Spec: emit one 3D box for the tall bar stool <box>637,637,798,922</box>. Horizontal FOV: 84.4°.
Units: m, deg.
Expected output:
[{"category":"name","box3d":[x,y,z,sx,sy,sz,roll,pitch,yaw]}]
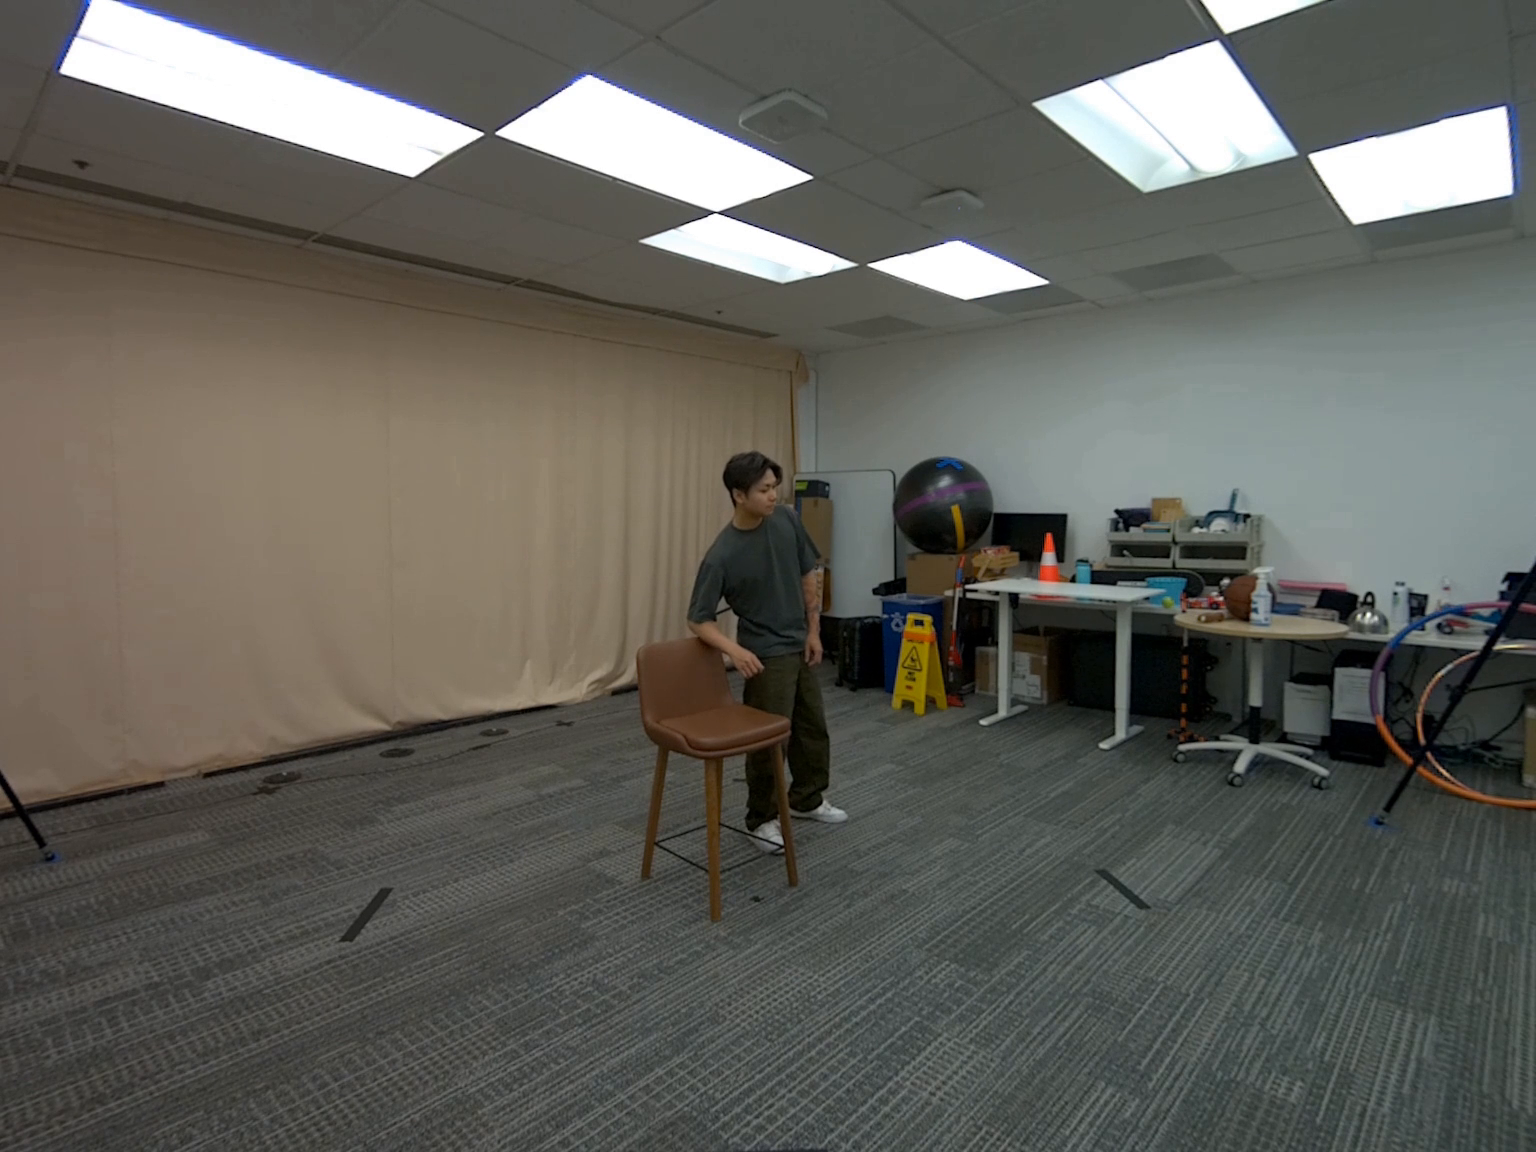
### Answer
[{"category":"tall bar stool","box3d":[-0.198,0.699,3.094,0.442,0.888,0.483,-4,3,-42]}]
